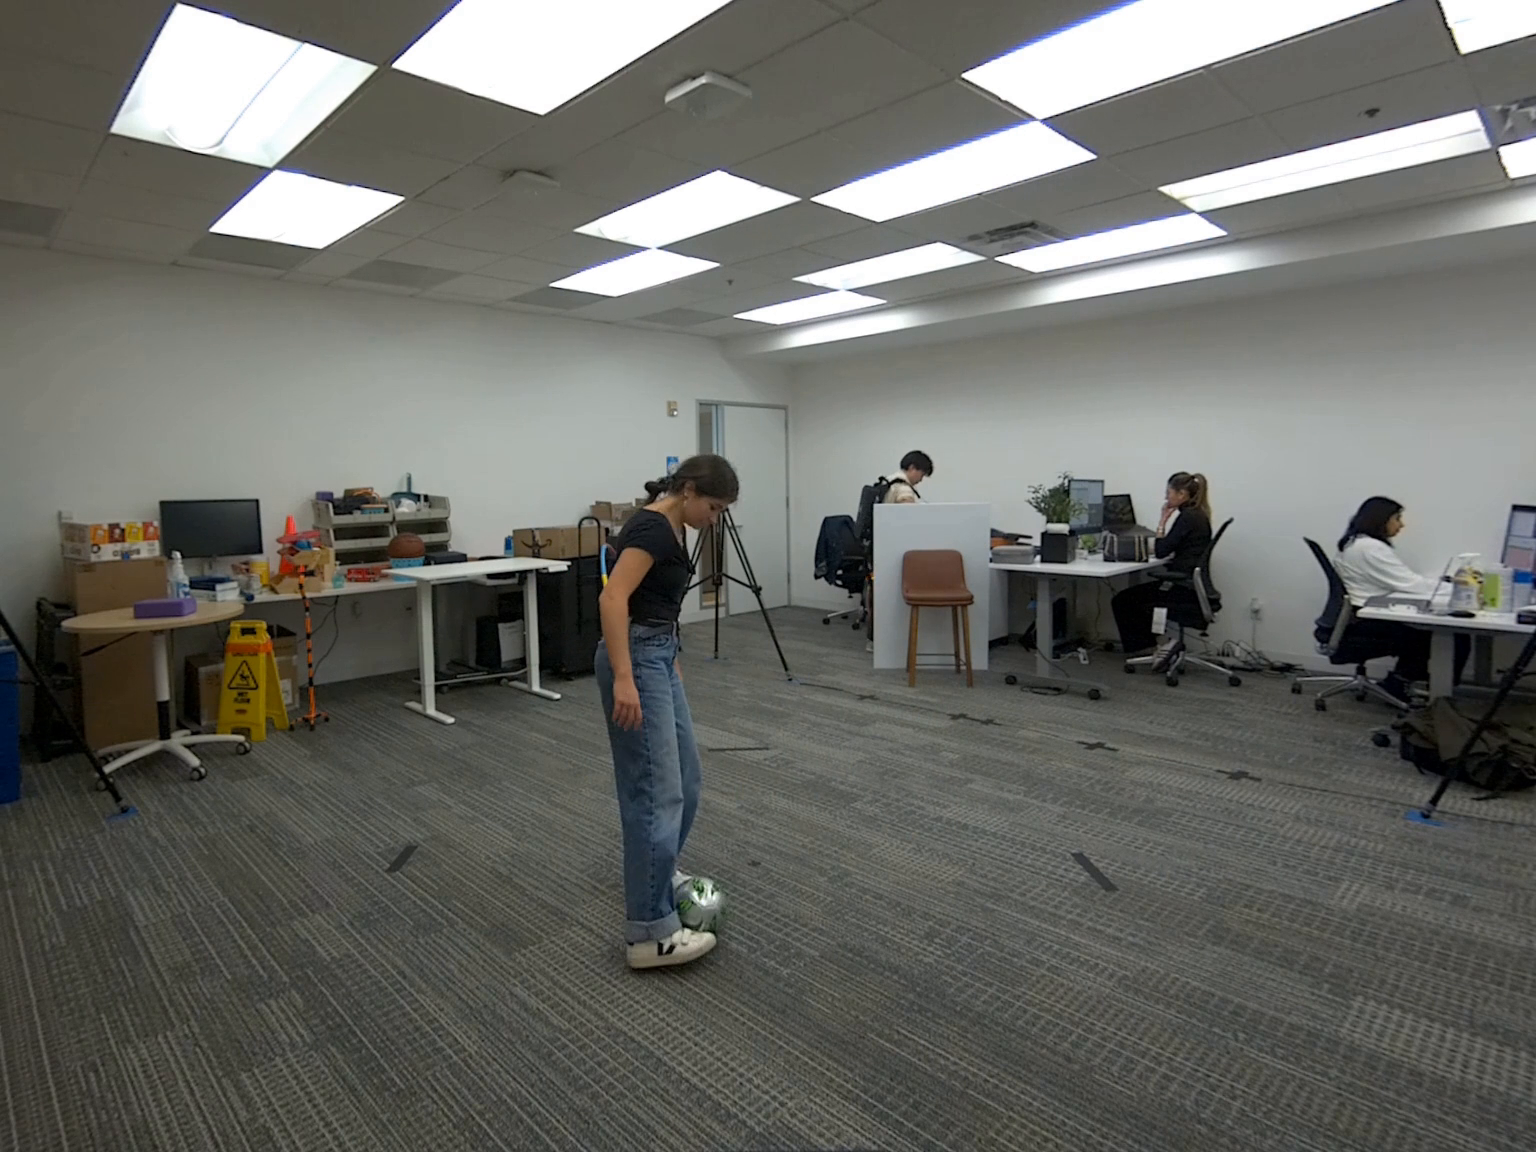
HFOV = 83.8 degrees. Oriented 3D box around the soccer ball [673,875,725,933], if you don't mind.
[{"bbox_3d":[-0.205,1.016,2.604,0.187,0.187,0.188,-1,5,-2],"label":"soccer ball"}]
